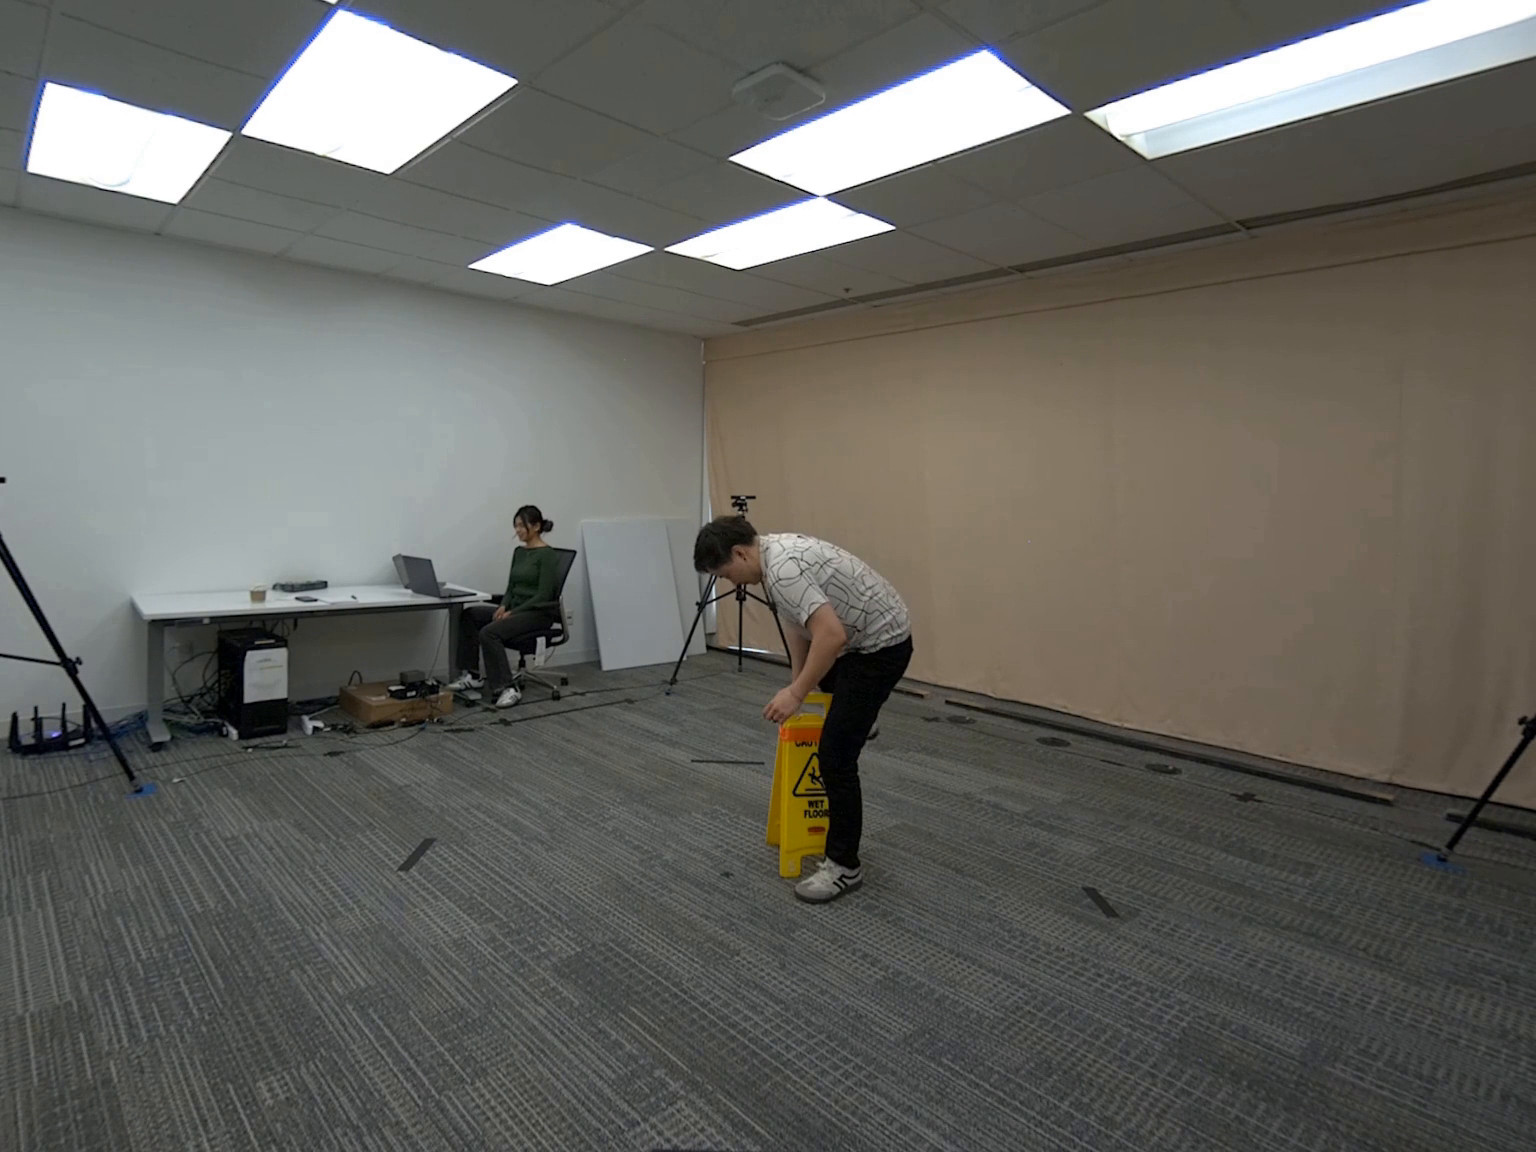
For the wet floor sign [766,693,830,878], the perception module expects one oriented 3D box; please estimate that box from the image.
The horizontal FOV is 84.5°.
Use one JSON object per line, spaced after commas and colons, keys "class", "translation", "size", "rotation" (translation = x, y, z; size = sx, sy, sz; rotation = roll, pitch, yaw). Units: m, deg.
{"class": "wet floor sign", "translation": [0.150, 0.767, 3.246], "size": [0.280, 0.644, 0.292], "rotation": [2, 3, -9]}
